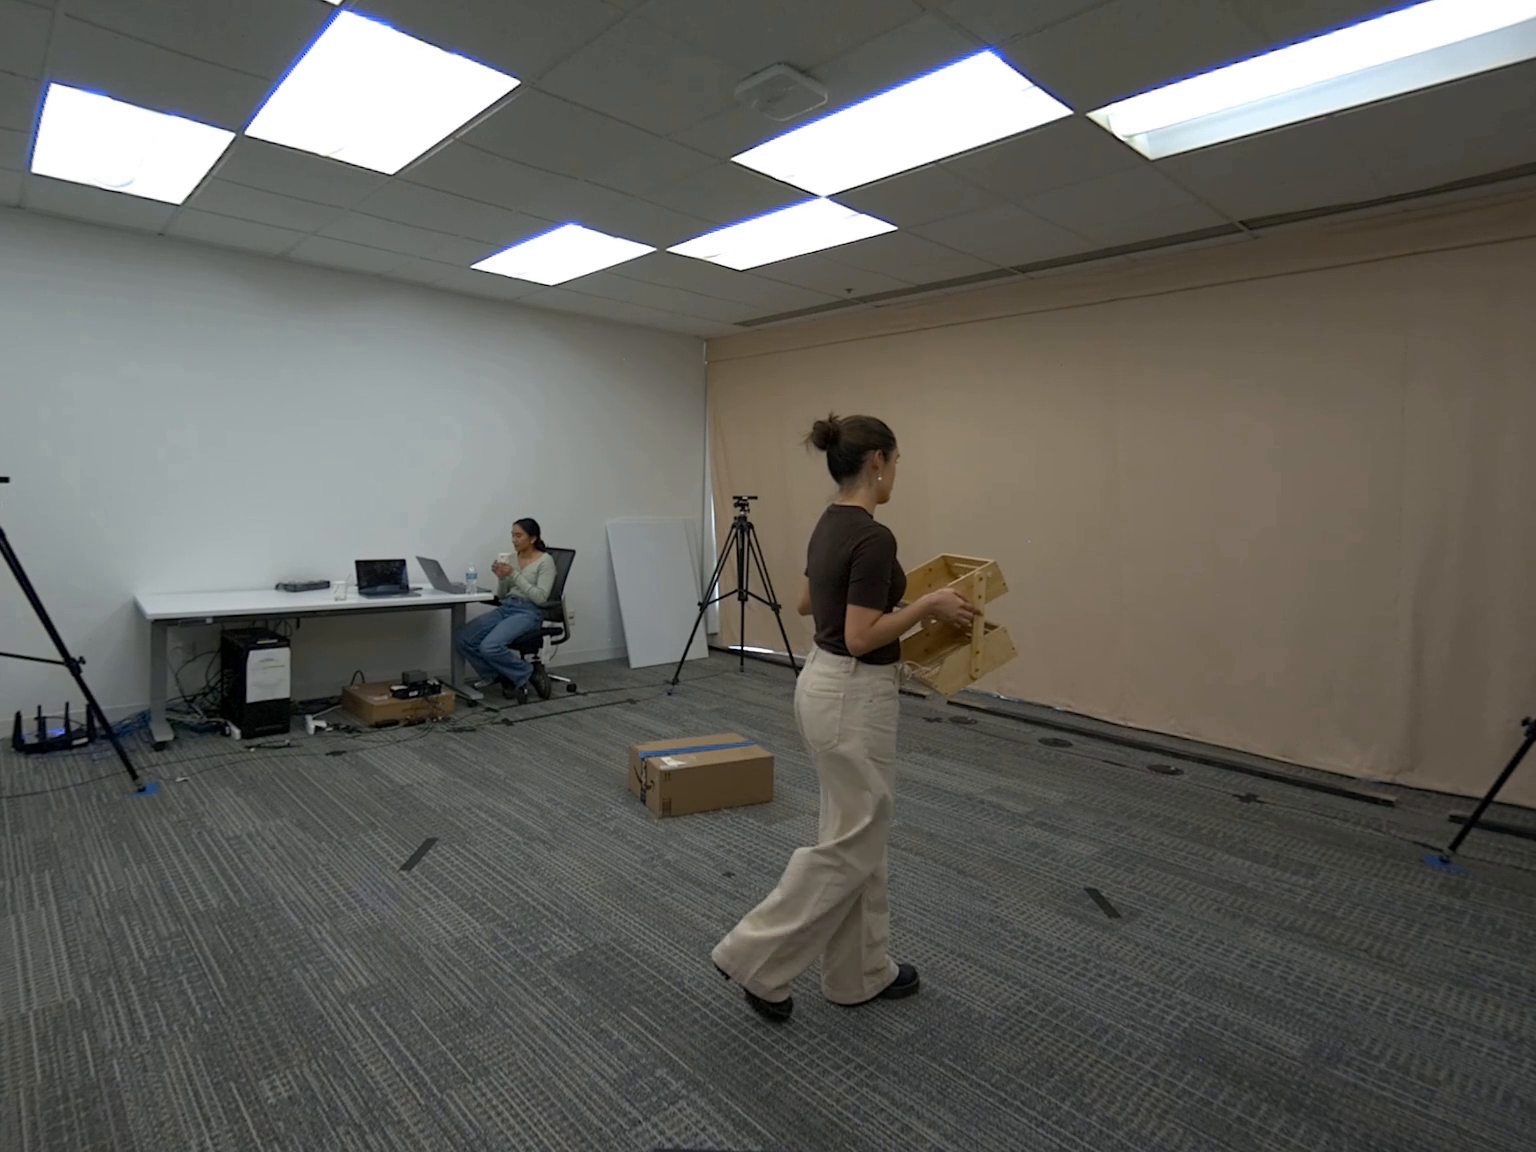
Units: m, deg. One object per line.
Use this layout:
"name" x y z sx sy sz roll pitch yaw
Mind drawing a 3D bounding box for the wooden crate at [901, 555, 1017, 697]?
"wooden crate" 0.463 0.127 2.337 0.301 0.271 0.328 -27 10 -10
